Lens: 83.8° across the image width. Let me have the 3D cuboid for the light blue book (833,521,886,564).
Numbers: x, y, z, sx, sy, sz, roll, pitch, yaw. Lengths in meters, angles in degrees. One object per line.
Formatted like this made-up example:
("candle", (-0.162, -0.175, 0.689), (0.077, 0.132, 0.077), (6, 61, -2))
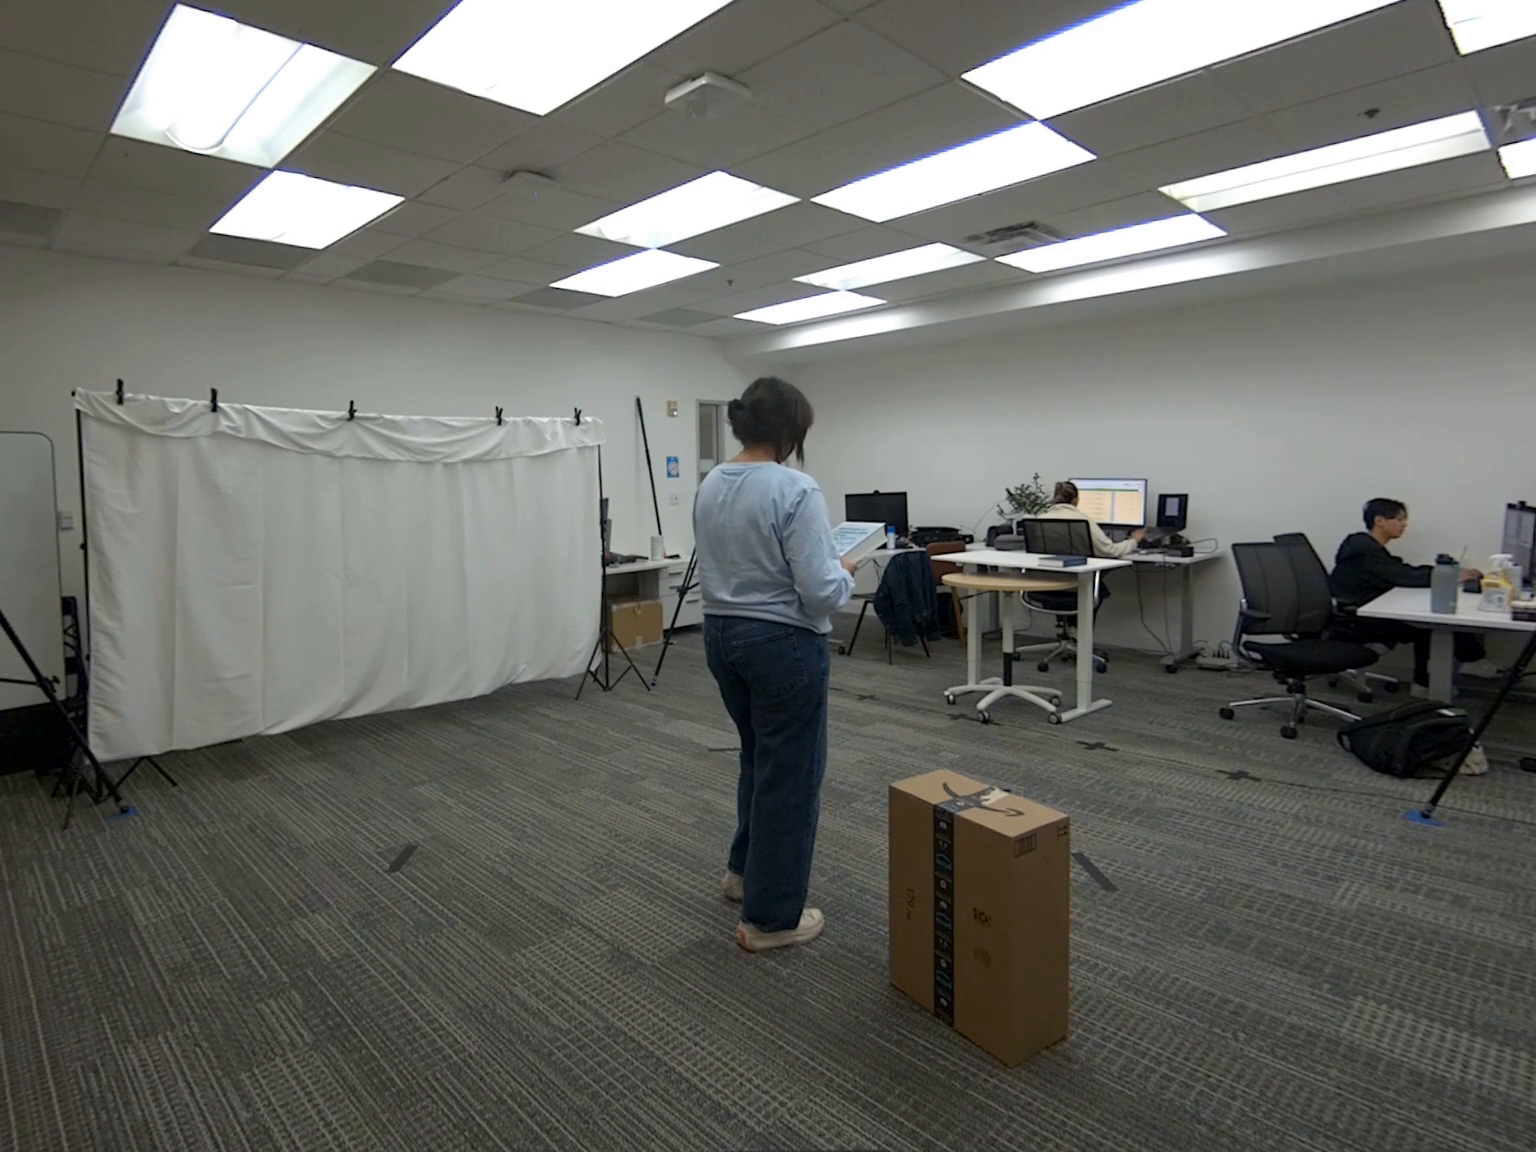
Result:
("light blue book", (0.237, -0.087, 2.732), (0.258, 0.058, 0.197), (-34, 26, -34))
